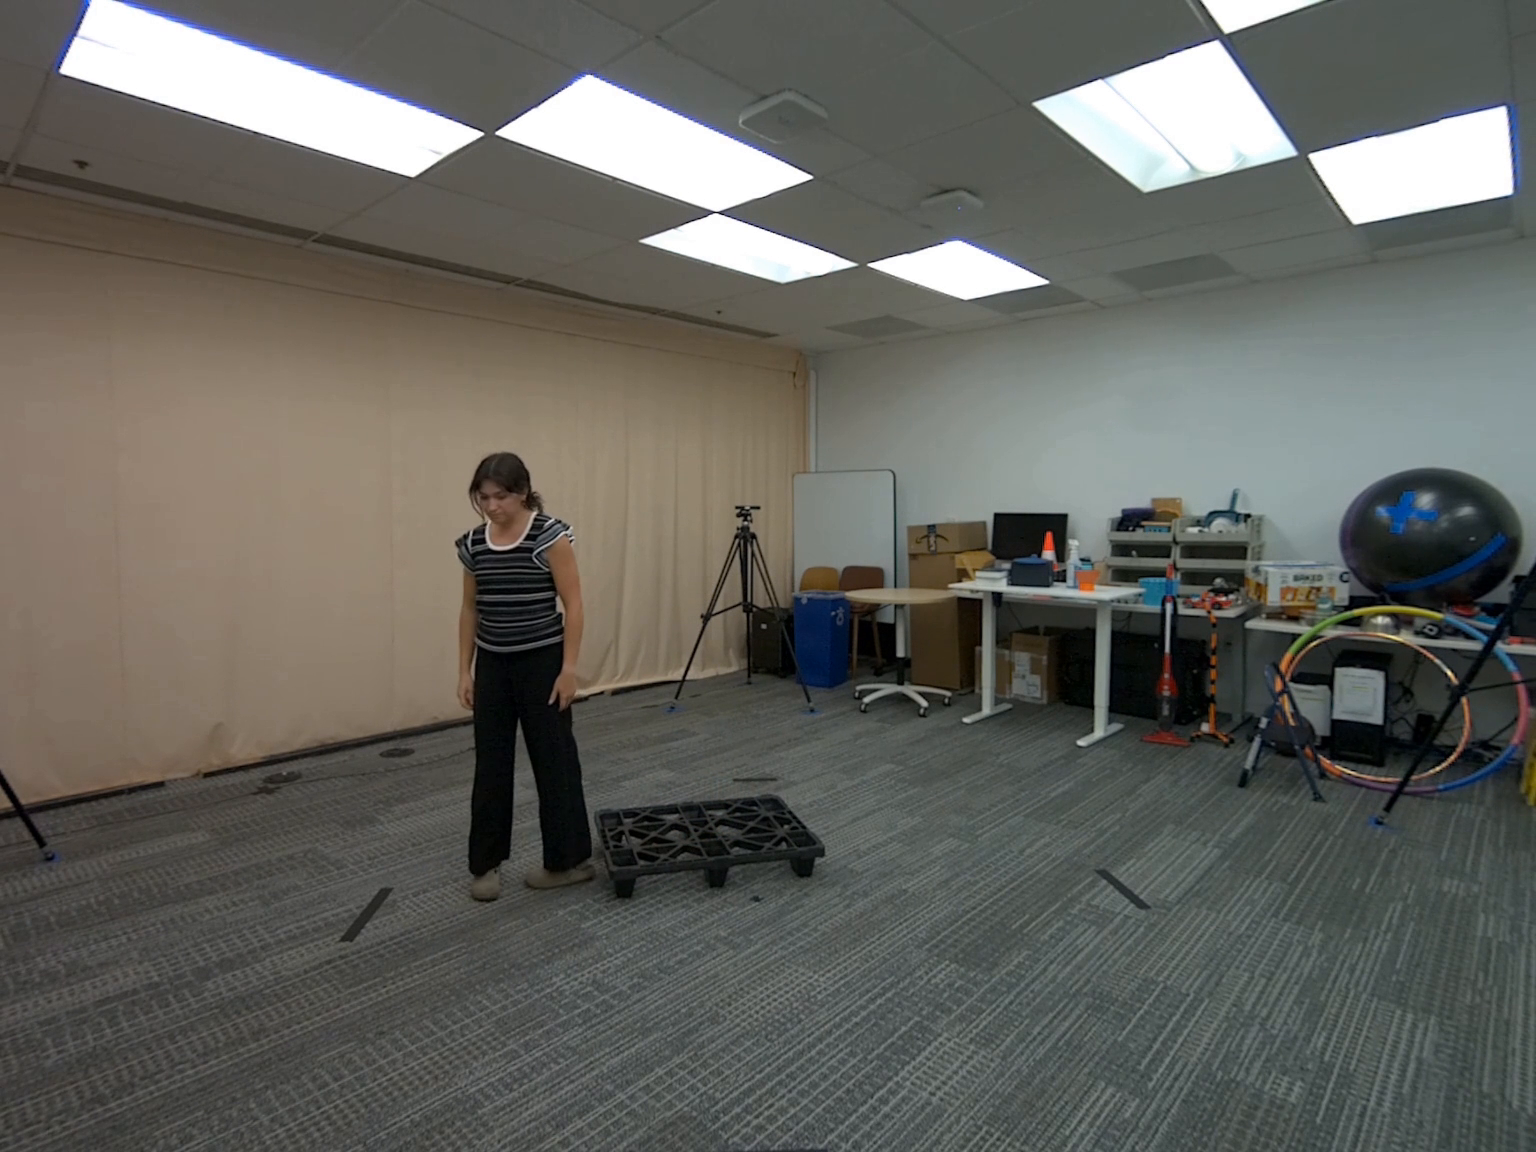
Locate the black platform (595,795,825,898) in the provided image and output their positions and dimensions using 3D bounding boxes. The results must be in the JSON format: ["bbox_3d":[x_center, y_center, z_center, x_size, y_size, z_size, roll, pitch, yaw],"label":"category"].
[{"bbox_3d":[-0.253,1.051,3.299,0.793,0.143,0.615,-2,4,-15],"label":"black platform"}]
